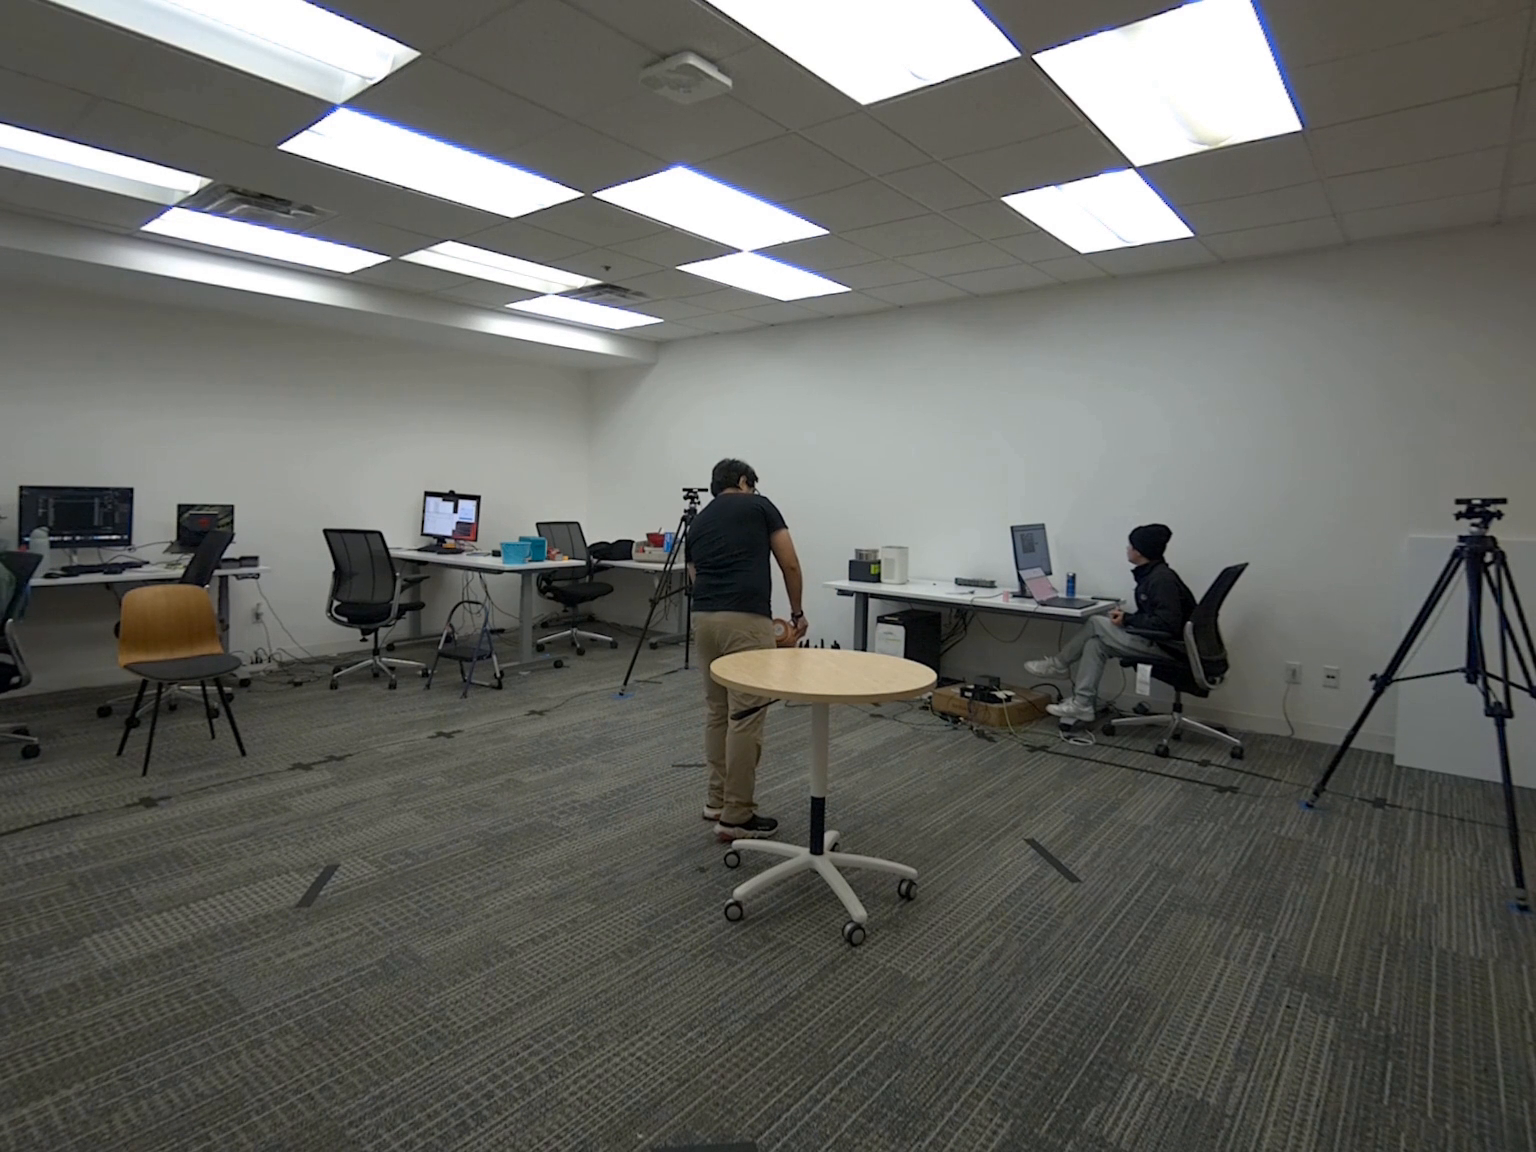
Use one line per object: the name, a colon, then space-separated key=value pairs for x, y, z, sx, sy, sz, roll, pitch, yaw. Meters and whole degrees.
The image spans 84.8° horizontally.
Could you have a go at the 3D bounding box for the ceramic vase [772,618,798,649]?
ceramic vase: x=0.043 y=0.255 z=3.808 sx=0.137 sy=0.159 sz=0.215 roll=37 pitch=-8 yaw=13
